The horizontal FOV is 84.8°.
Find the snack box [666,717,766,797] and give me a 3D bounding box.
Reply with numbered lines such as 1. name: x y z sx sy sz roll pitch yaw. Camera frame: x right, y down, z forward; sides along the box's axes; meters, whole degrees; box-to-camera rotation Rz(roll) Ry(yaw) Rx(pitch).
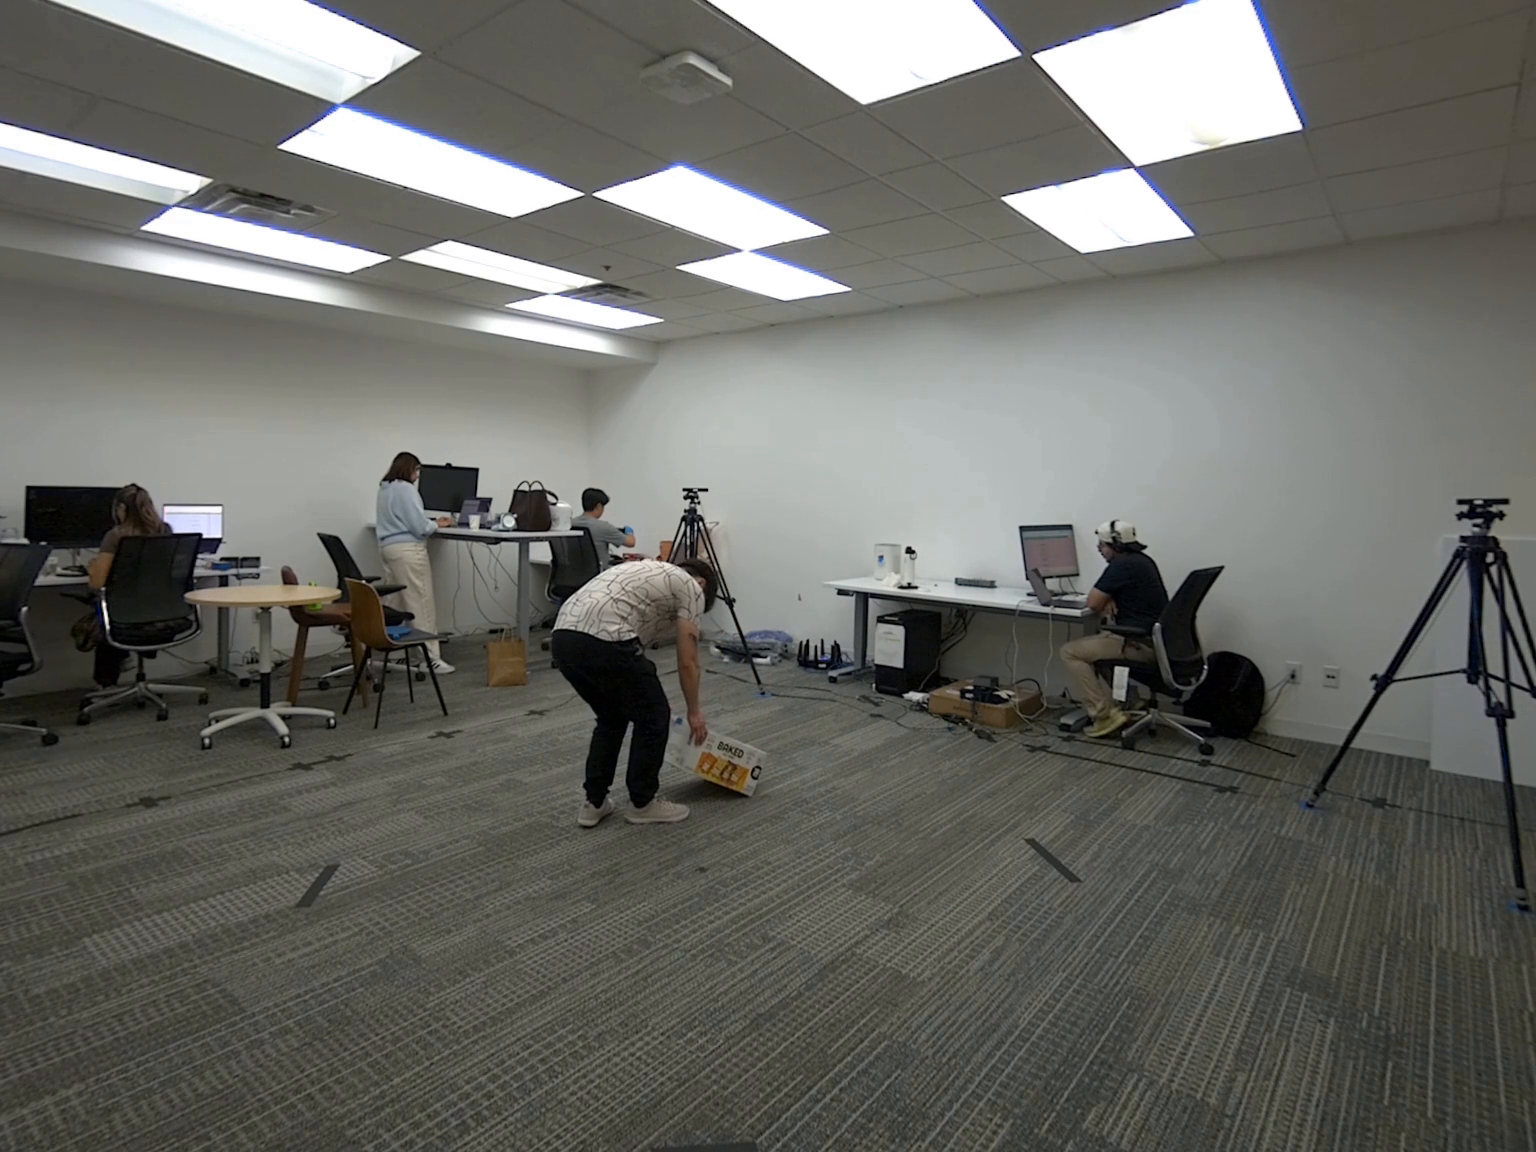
1. snack box: -0.296 0.815 3.916 0.391 0.207 0.350 29 -13 -30
